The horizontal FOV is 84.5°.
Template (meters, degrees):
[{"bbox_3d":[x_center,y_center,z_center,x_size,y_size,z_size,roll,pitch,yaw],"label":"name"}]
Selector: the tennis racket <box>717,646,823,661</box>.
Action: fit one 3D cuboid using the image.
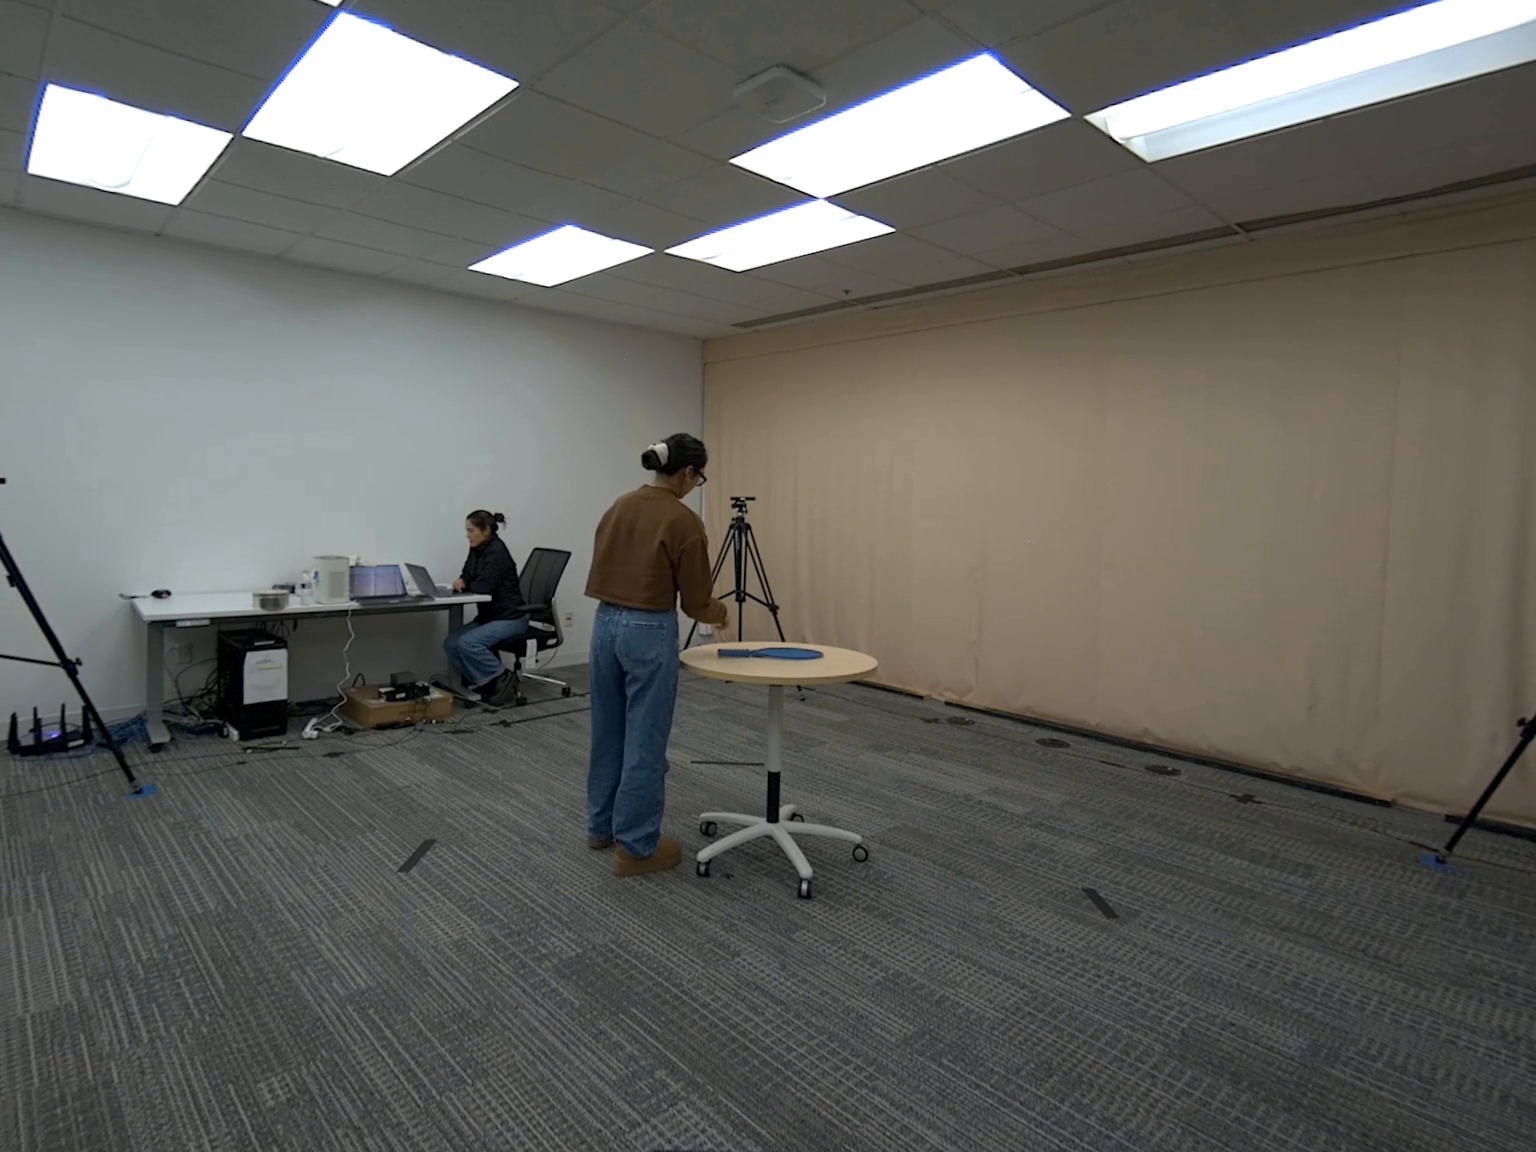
[{"bbox_3d":[0.005,0.302,3.288,0.427,0.031,0.217,1,5,-18],"label":"tennis racket"}]
